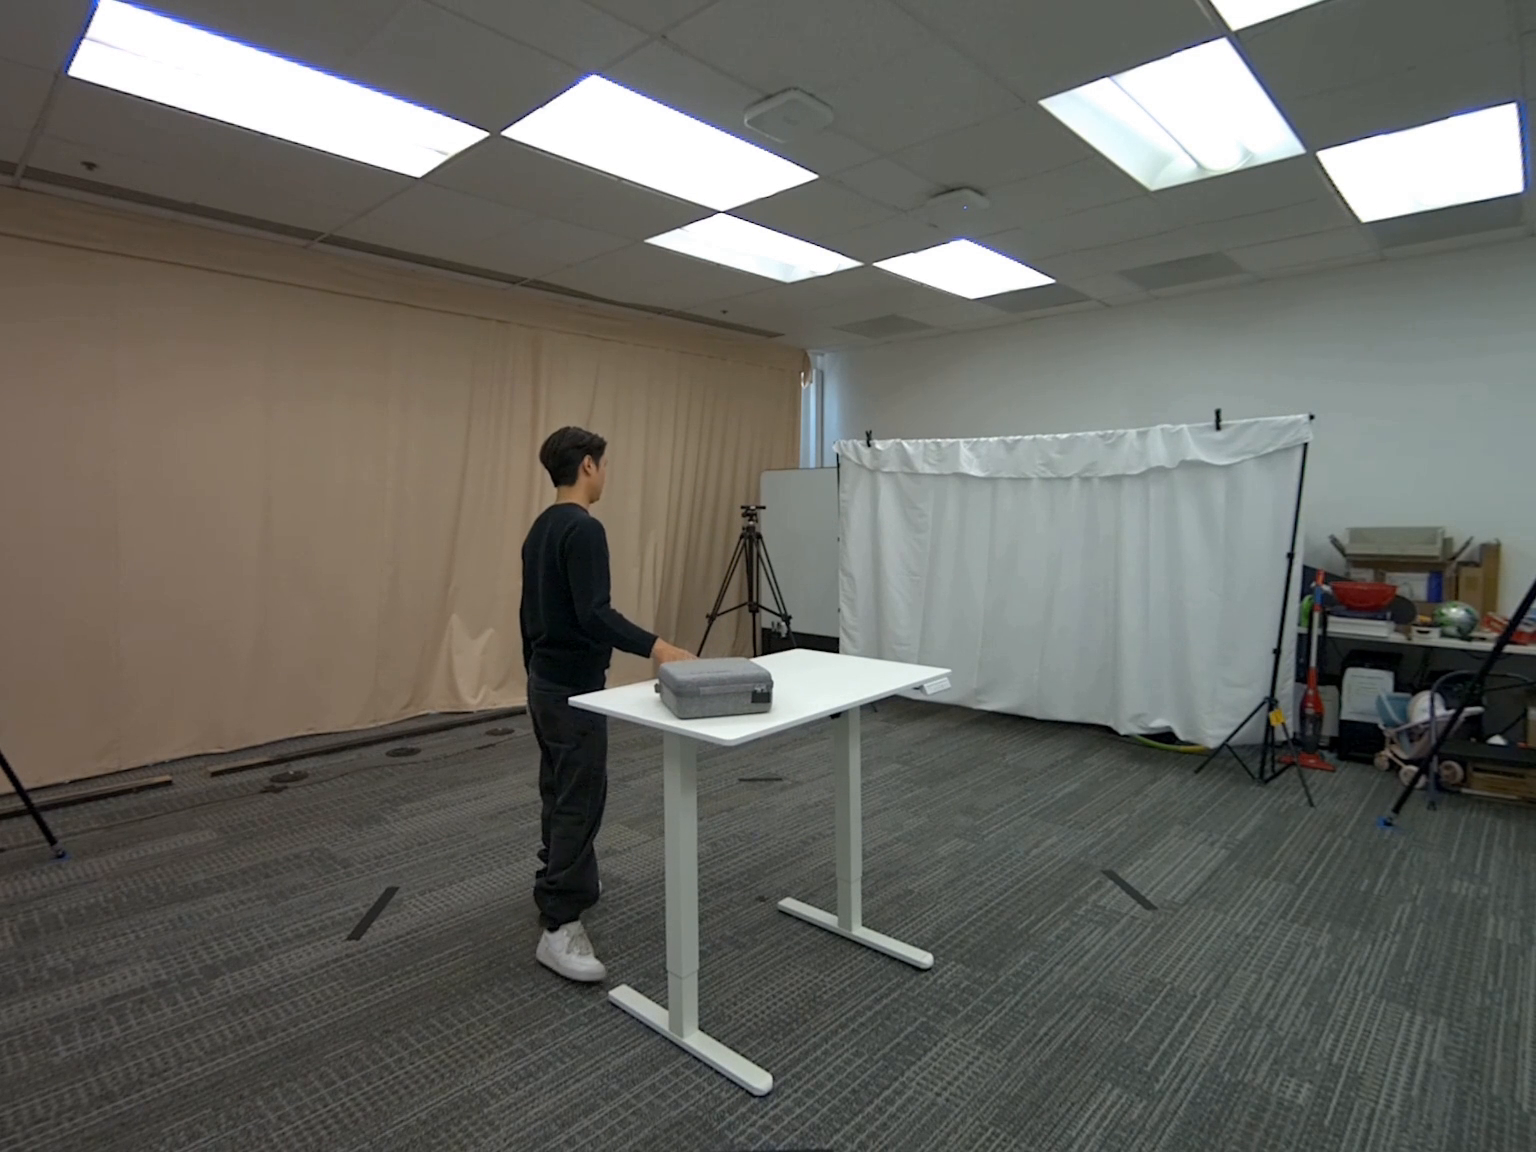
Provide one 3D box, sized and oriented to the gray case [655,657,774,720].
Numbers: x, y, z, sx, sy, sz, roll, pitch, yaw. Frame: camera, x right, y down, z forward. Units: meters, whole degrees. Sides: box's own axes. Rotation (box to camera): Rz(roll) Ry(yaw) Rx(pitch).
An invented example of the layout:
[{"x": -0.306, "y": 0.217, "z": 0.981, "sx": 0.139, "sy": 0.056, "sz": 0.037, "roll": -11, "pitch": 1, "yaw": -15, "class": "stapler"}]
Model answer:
[{"x": -0.138, "y": 0.280, "z": 2.154, "sx": 0.252, "sy": 0.104, "sz": 0.266, "roll": -2, "pitch": 5, "yaw": -17, "class": "gray case"}]
